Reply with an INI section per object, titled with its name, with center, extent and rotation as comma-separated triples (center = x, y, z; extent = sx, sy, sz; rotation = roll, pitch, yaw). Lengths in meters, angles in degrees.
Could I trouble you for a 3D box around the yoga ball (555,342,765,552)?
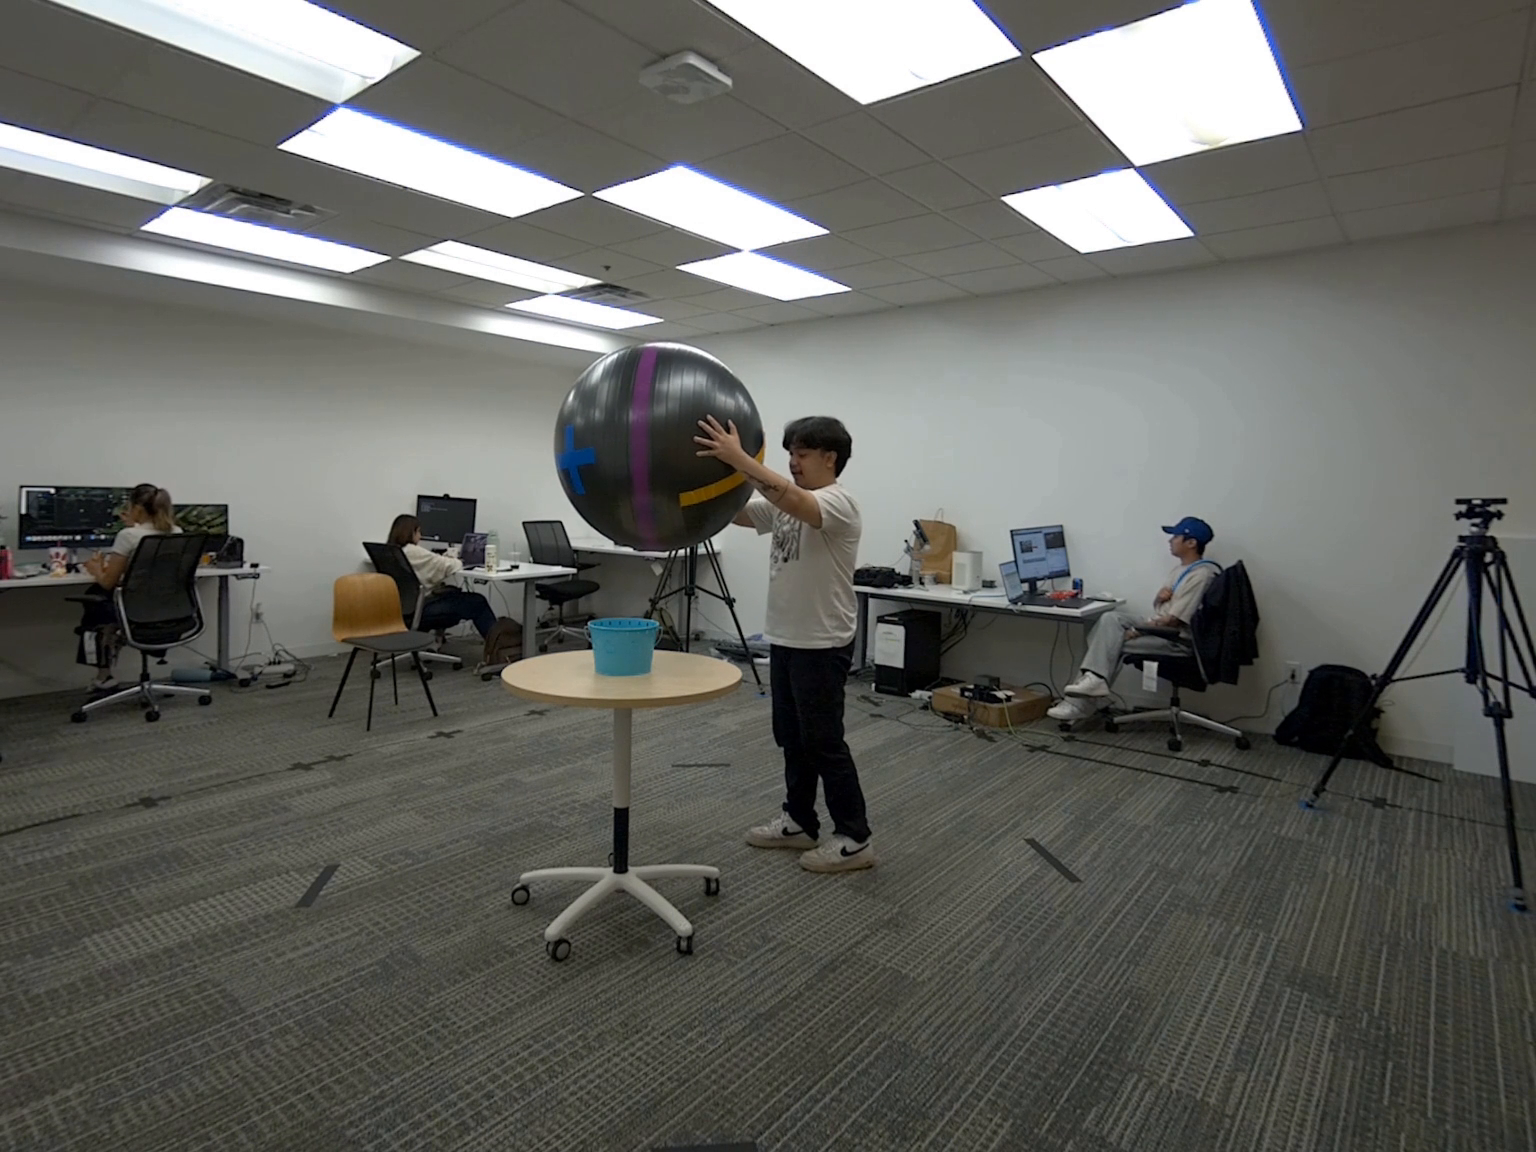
[yoga ball]
center = -0.407, -0.468, 3.095
extent = 0.757, 0.756, 0.761
rotation = 1, 4, -2
